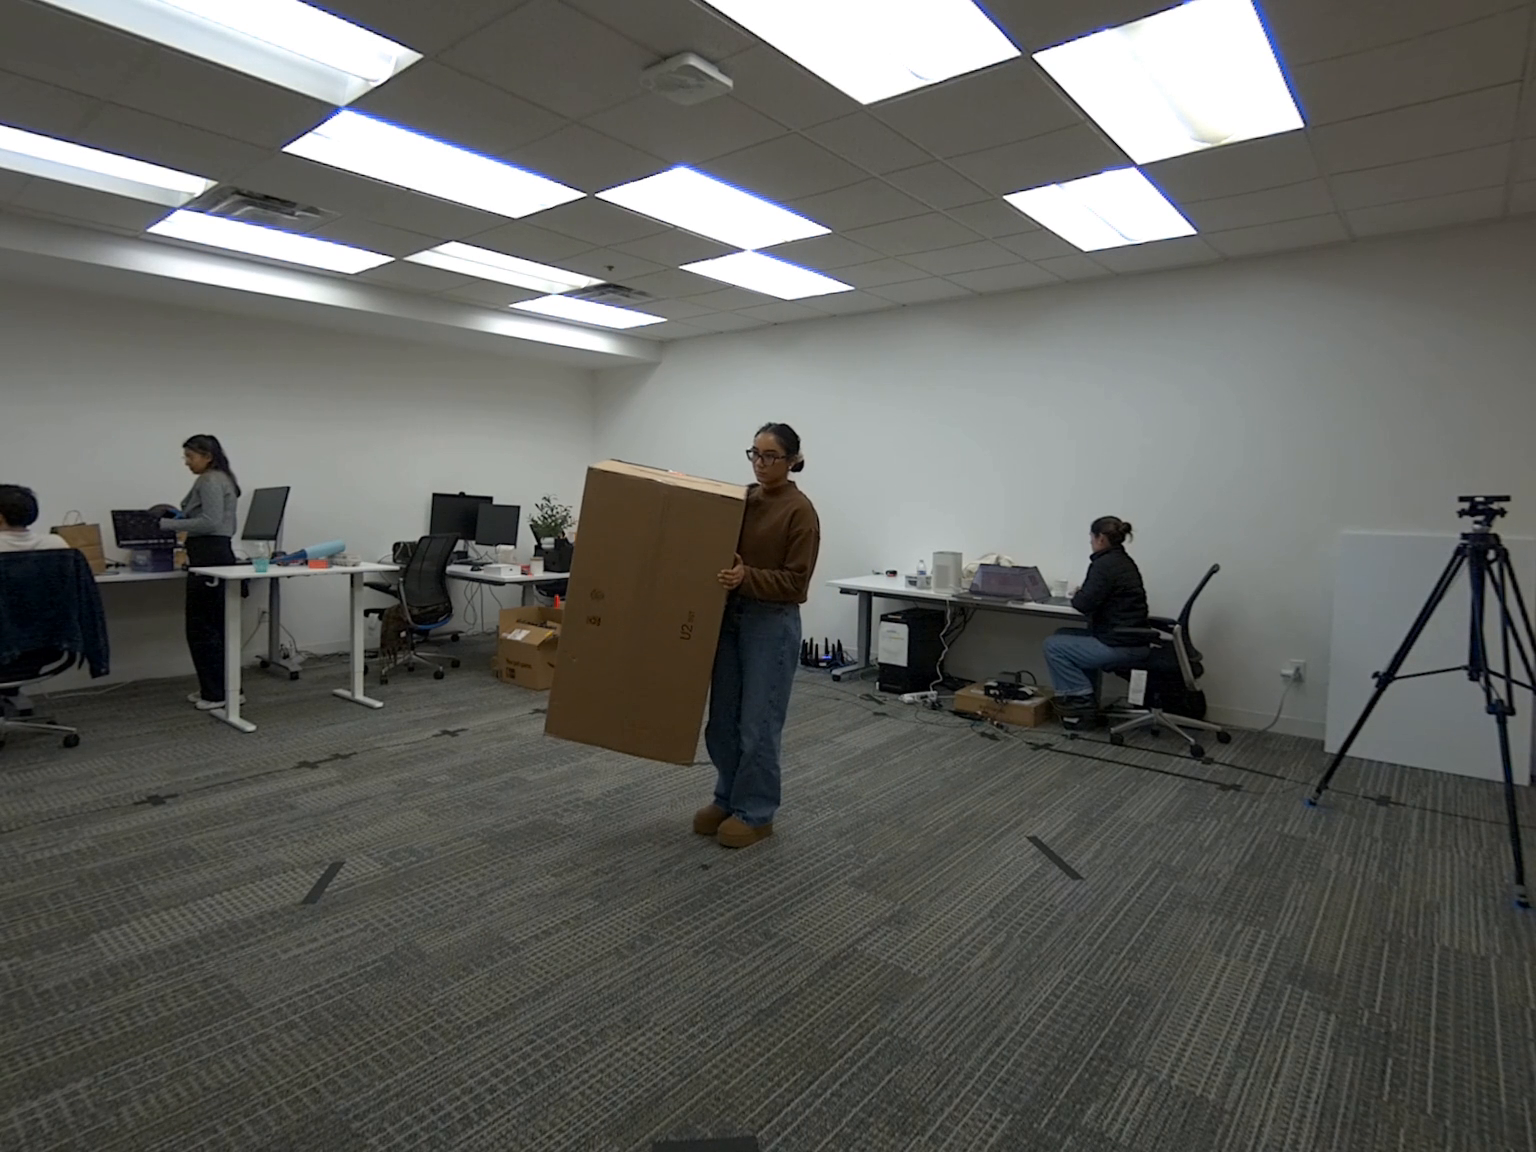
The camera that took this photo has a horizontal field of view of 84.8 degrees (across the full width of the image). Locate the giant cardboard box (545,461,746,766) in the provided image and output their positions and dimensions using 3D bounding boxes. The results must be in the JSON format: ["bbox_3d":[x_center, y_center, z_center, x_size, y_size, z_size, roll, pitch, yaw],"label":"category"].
[{"bbox_3d":[-0.469,0.126,3.282,0.579,1.018,0.428,12,10,1],"label":"giant cardboard box"}]
